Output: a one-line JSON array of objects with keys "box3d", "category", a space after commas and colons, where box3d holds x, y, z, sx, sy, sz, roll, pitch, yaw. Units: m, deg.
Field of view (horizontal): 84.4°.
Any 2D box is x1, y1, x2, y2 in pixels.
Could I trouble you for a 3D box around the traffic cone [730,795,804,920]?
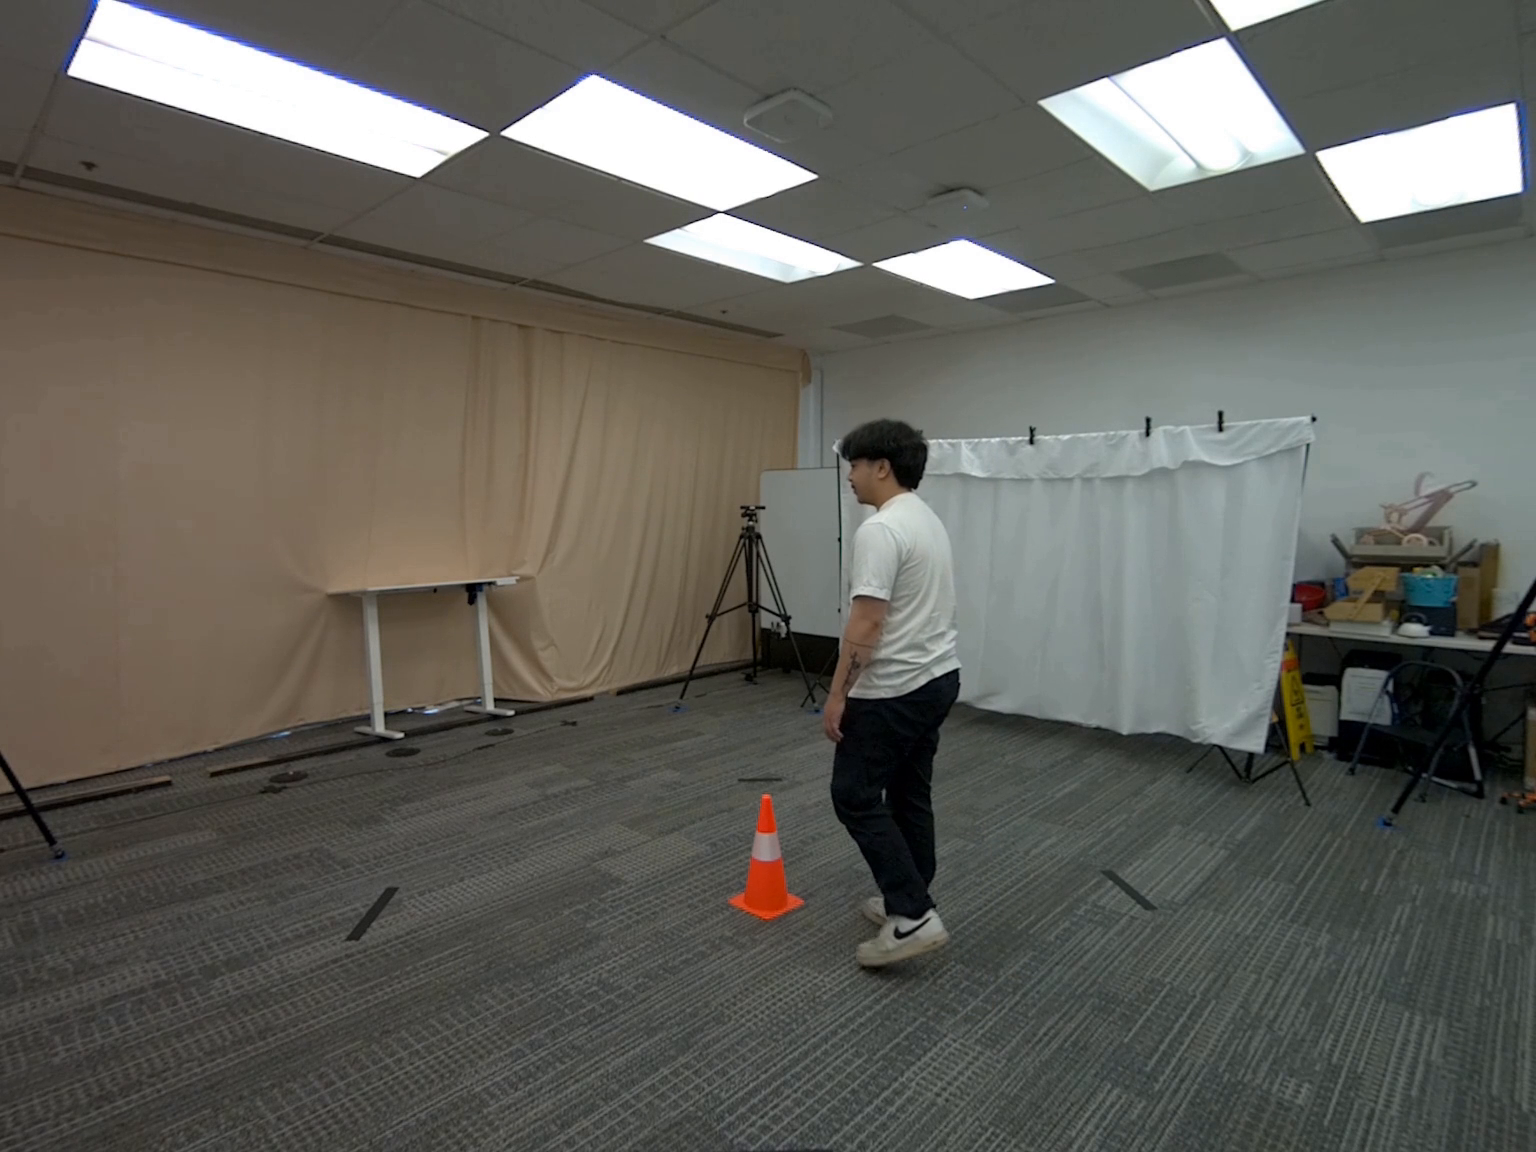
[{"box3d": [-0.004, 0.965, 2.949, 0.210, 0.383, 0.199, 3, 5, 38], "category": "traffic cone"}]
